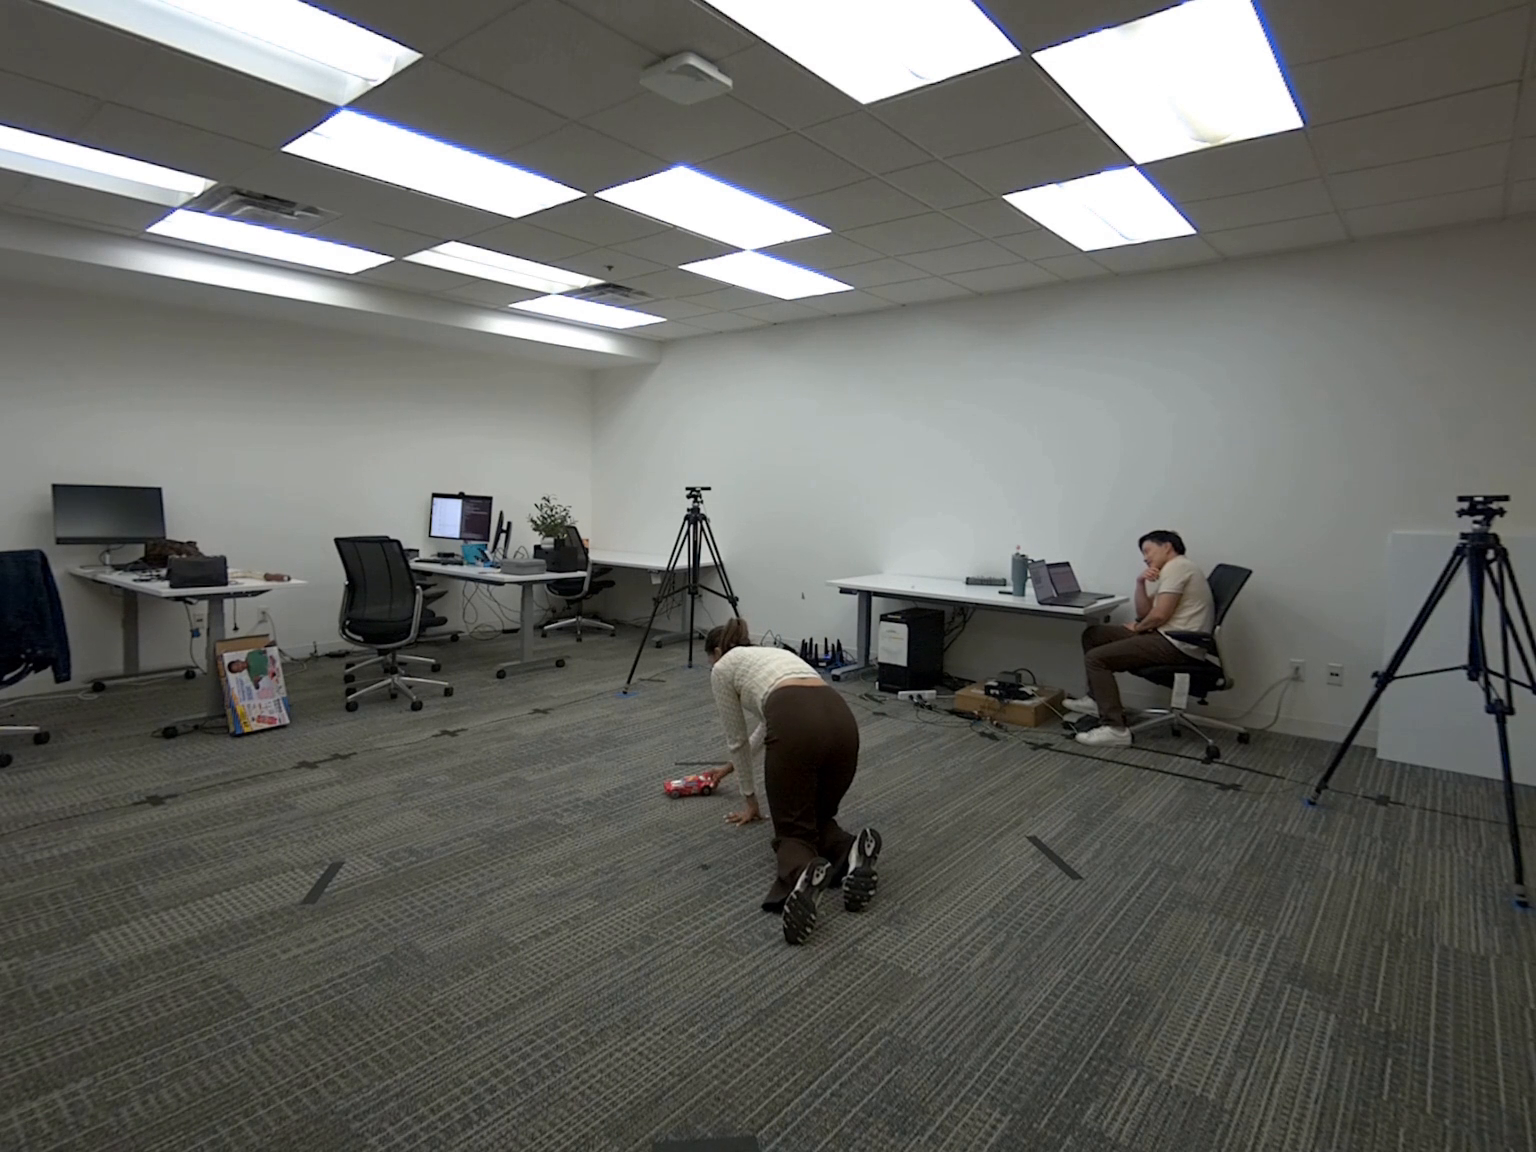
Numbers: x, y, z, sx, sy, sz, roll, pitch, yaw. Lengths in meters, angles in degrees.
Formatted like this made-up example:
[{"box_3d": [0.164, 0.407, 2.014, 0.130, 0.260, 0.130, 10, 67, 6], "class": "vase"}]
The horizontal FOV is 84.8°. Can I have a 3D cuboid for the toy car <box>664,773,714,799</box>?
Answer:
[{"box_3d": [-0.352, 0.955, 3.881, 0.251, 0.082, 0.133, -12, 8, -17], "class": "toy car"}]
